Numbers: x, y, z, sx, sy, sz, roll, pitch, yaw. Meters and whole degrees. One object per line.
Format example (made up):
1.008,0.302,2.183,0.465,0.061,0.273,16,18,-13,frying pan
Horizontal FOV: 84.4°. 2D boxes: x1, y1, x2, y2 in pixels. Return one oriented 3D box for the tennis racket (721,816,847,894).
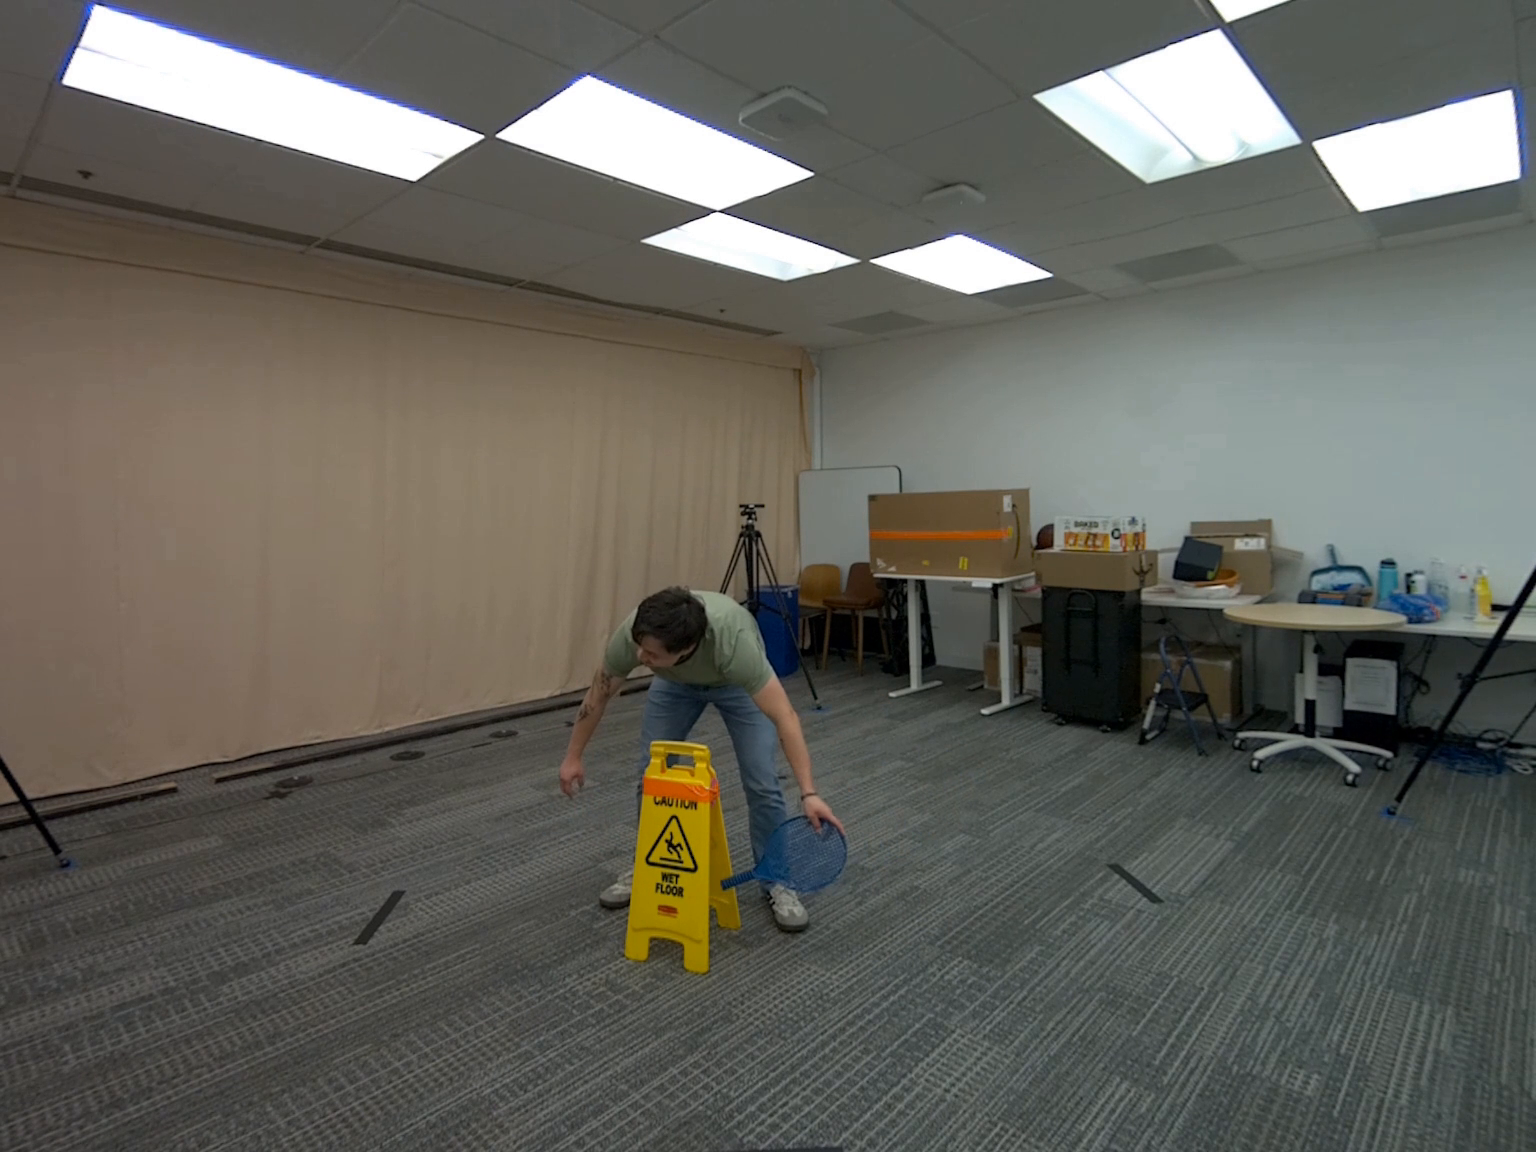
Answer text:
0.062,0.873,2.535,0.436,0.217,0.031,-35,-14,14,tennis racket
